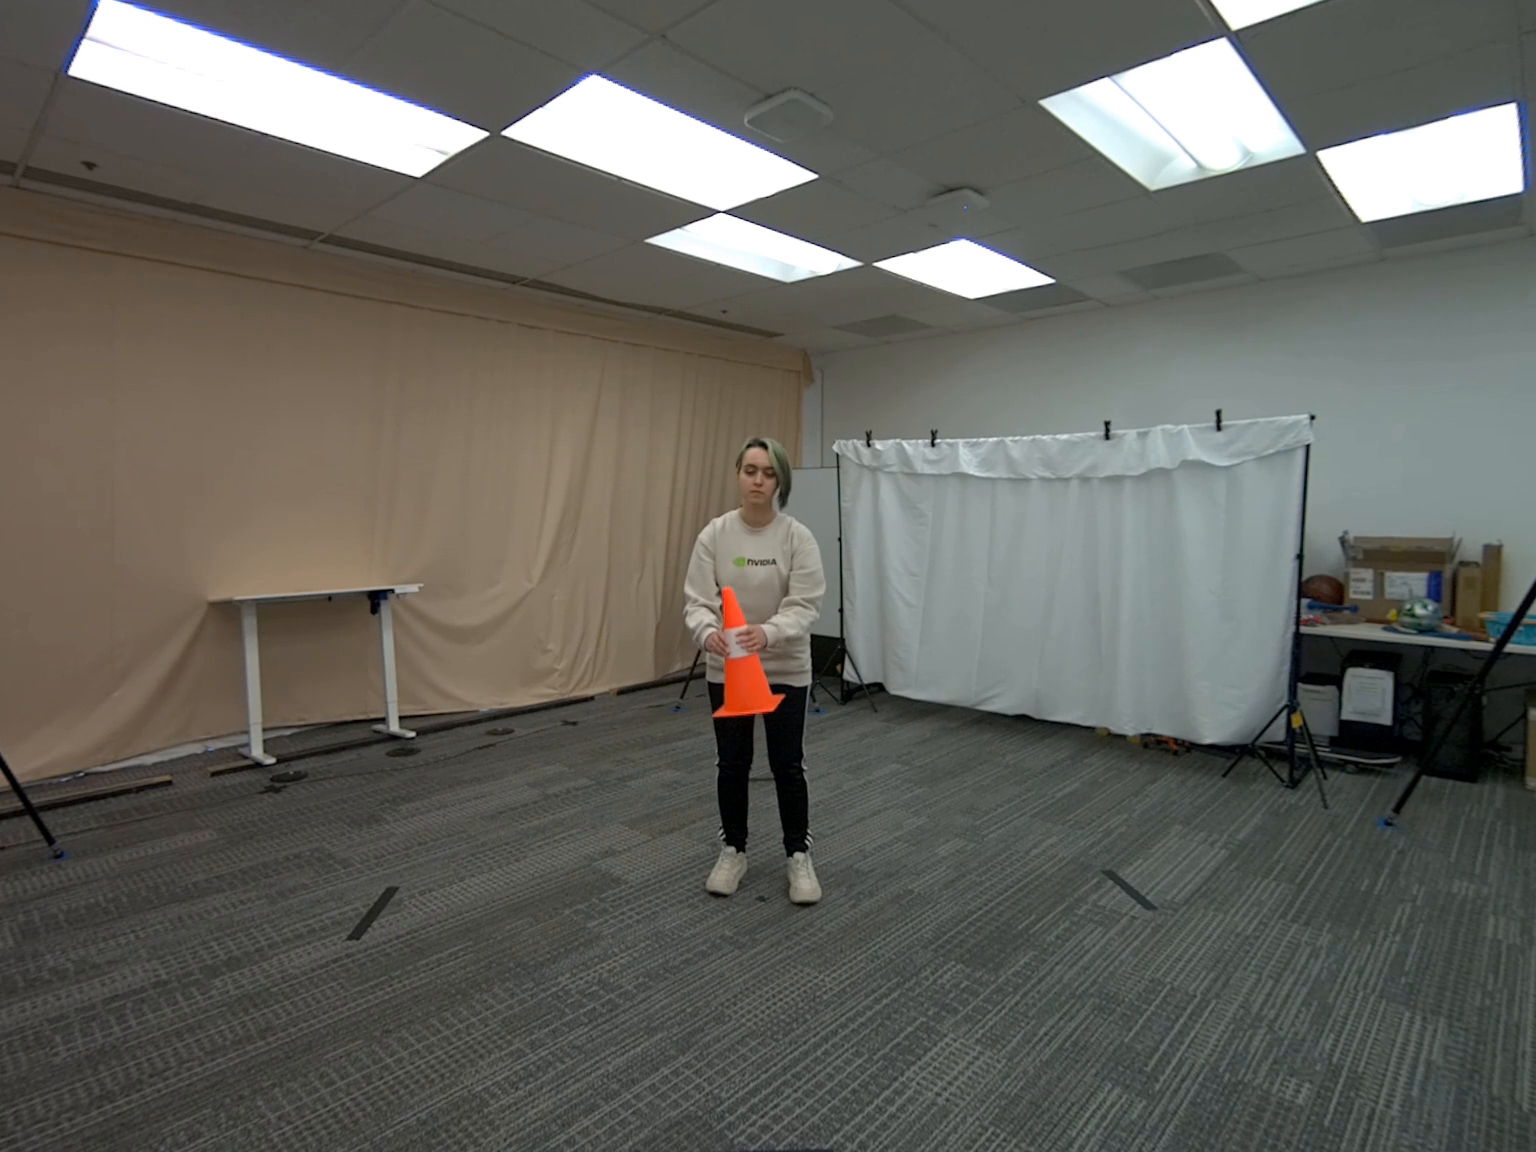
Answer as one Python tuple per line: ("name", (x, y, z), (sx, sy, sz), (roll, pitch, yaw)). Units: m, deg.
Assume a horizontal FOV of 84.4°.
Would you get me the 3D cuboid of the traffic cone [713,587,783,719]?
("traffic cone", (-0.099, 0.233, 2.649), (0.208, 0.383, 0.200), (-11, 2, 15))
